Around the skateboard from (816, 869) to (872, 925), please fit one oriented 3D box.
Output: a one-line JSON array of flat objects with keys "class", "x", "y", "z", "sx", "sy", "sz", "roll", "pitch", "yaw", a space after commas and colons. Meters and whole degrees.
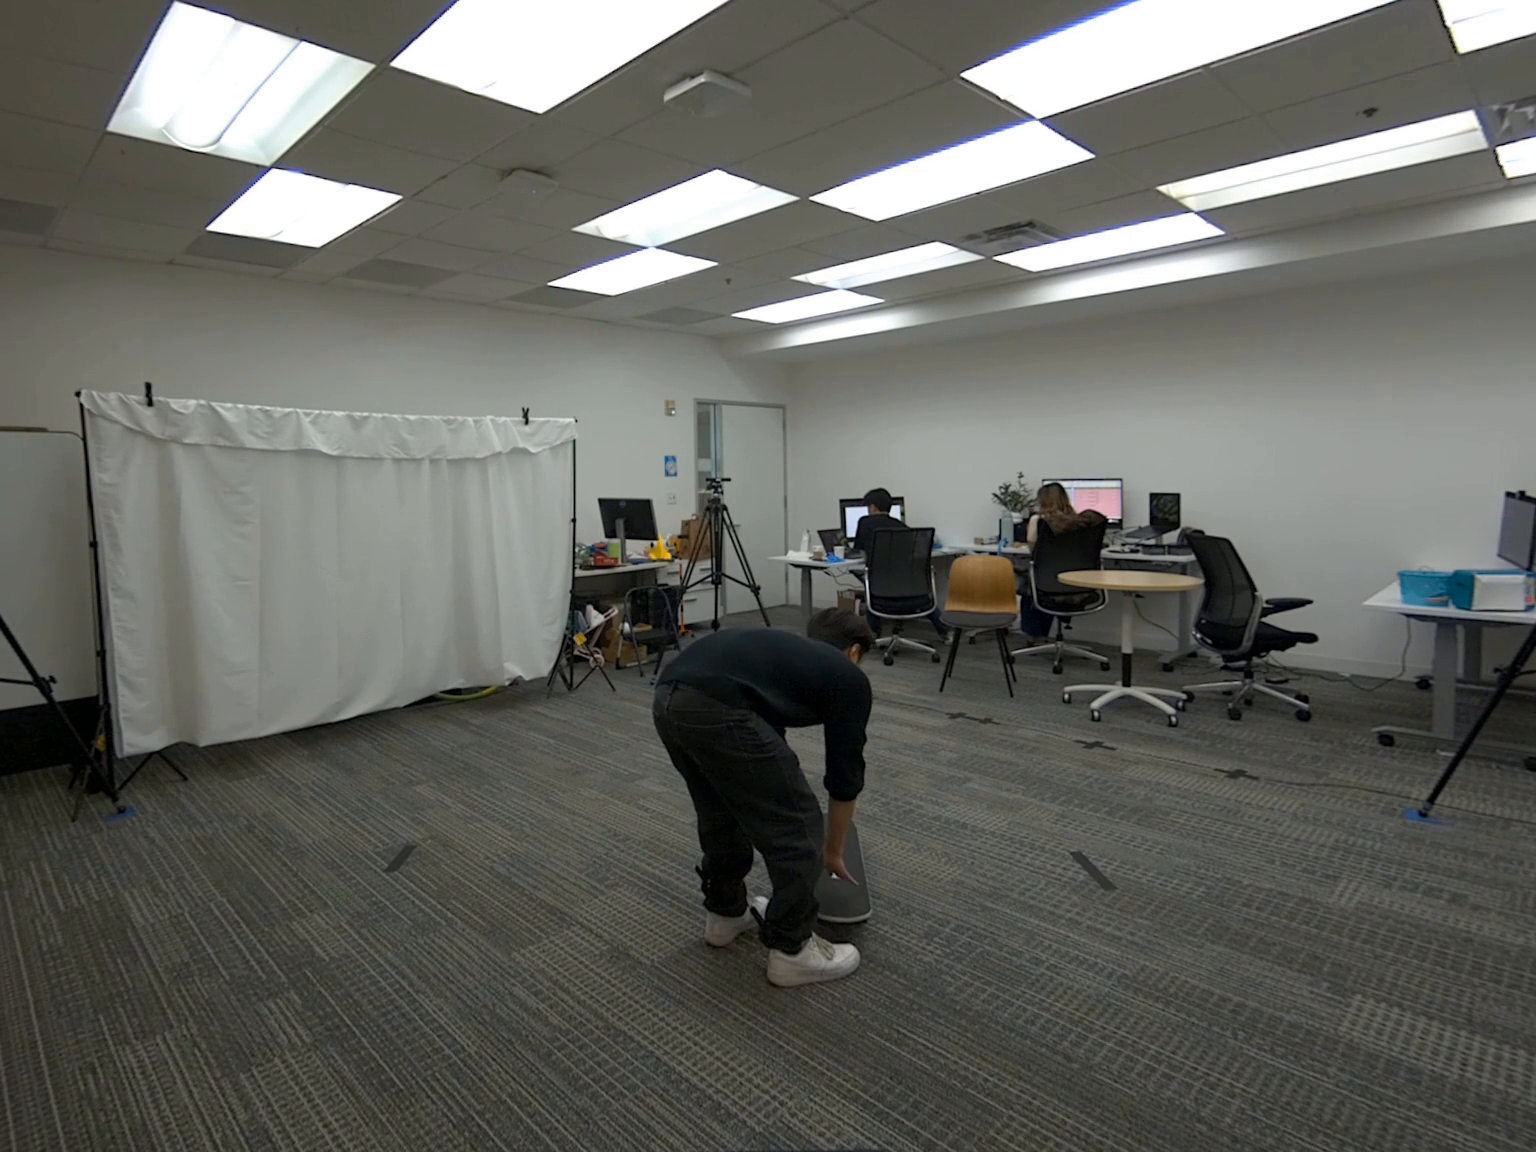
[{"class": "skateboard", "x": 0.230, "y": 1.002, "z": 2.896, "sx": 0.194, "sy": 0.110, "sz": 0.787, "roll": 0, "pitch": 7, "yaw": 1}]
